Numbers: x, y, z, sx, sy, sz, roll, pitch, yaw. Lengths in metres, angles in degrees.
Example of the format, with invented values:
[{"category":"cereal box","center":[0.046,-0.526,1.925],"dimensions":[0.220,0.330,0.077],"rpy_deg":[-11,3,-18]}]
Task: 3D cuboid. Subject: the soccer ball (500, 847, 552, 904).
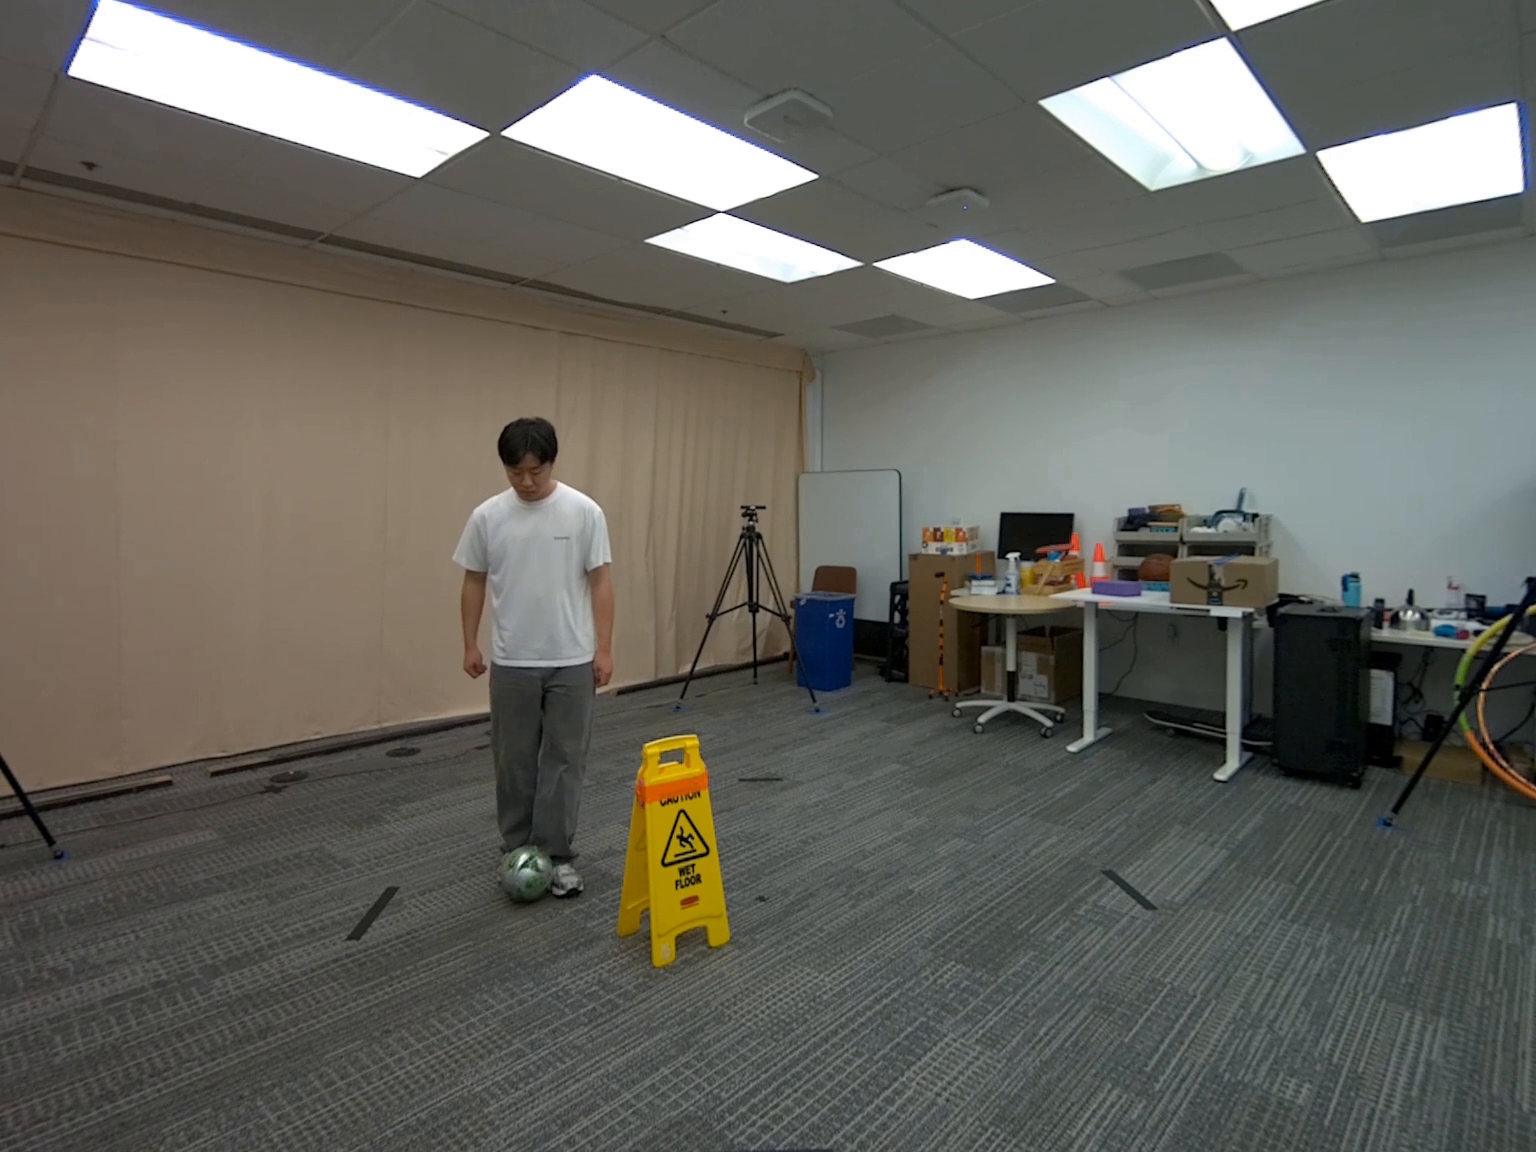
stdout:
[{"category":"soccer ball","center":[-0.852,1.051,2.997],"dimensions":[0.187,0.187,0.188],"rpy_deg":[0,4,-2]}]
